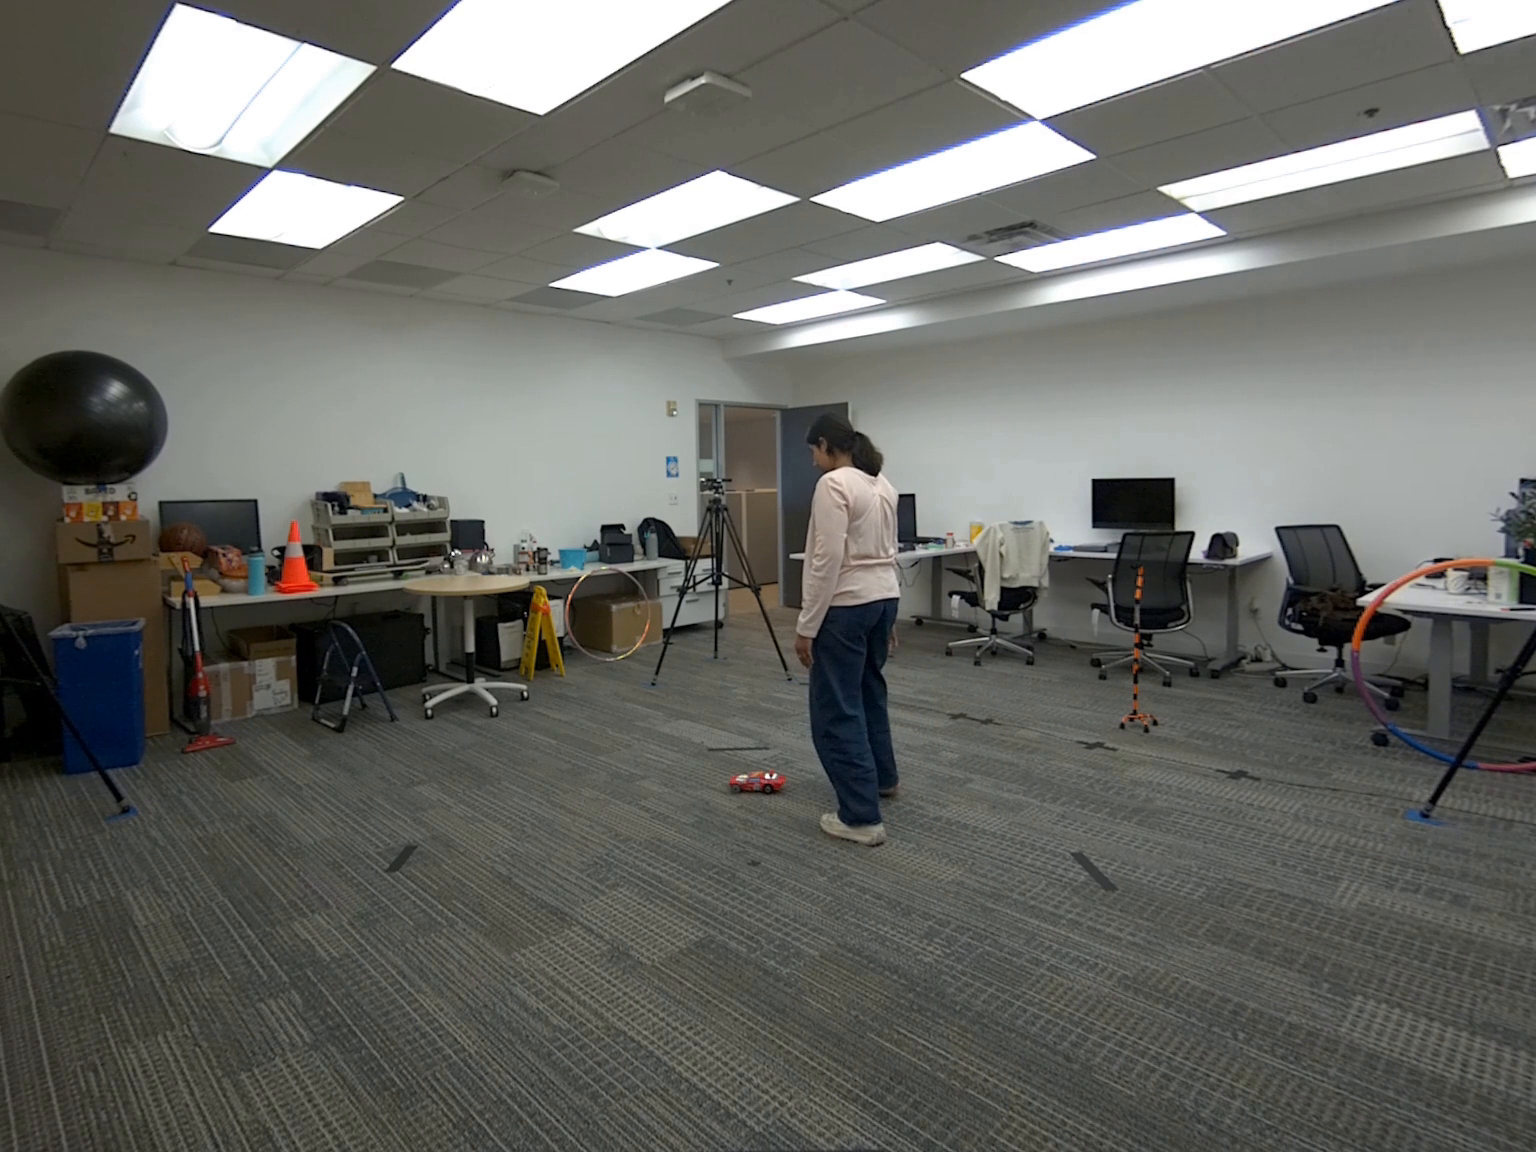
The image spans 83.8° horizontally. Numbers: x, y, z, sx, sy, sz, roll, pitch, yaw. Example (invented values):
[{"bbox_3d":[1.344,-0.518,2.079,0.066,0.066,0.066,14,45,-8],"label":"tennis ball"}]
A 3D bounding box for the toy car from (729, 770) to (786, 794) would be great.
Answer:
[{"bbox_3d":[-0.040,0.930,3.847,0.256,0.083,0.130,-13,4,10],"label":"toy car"}]
